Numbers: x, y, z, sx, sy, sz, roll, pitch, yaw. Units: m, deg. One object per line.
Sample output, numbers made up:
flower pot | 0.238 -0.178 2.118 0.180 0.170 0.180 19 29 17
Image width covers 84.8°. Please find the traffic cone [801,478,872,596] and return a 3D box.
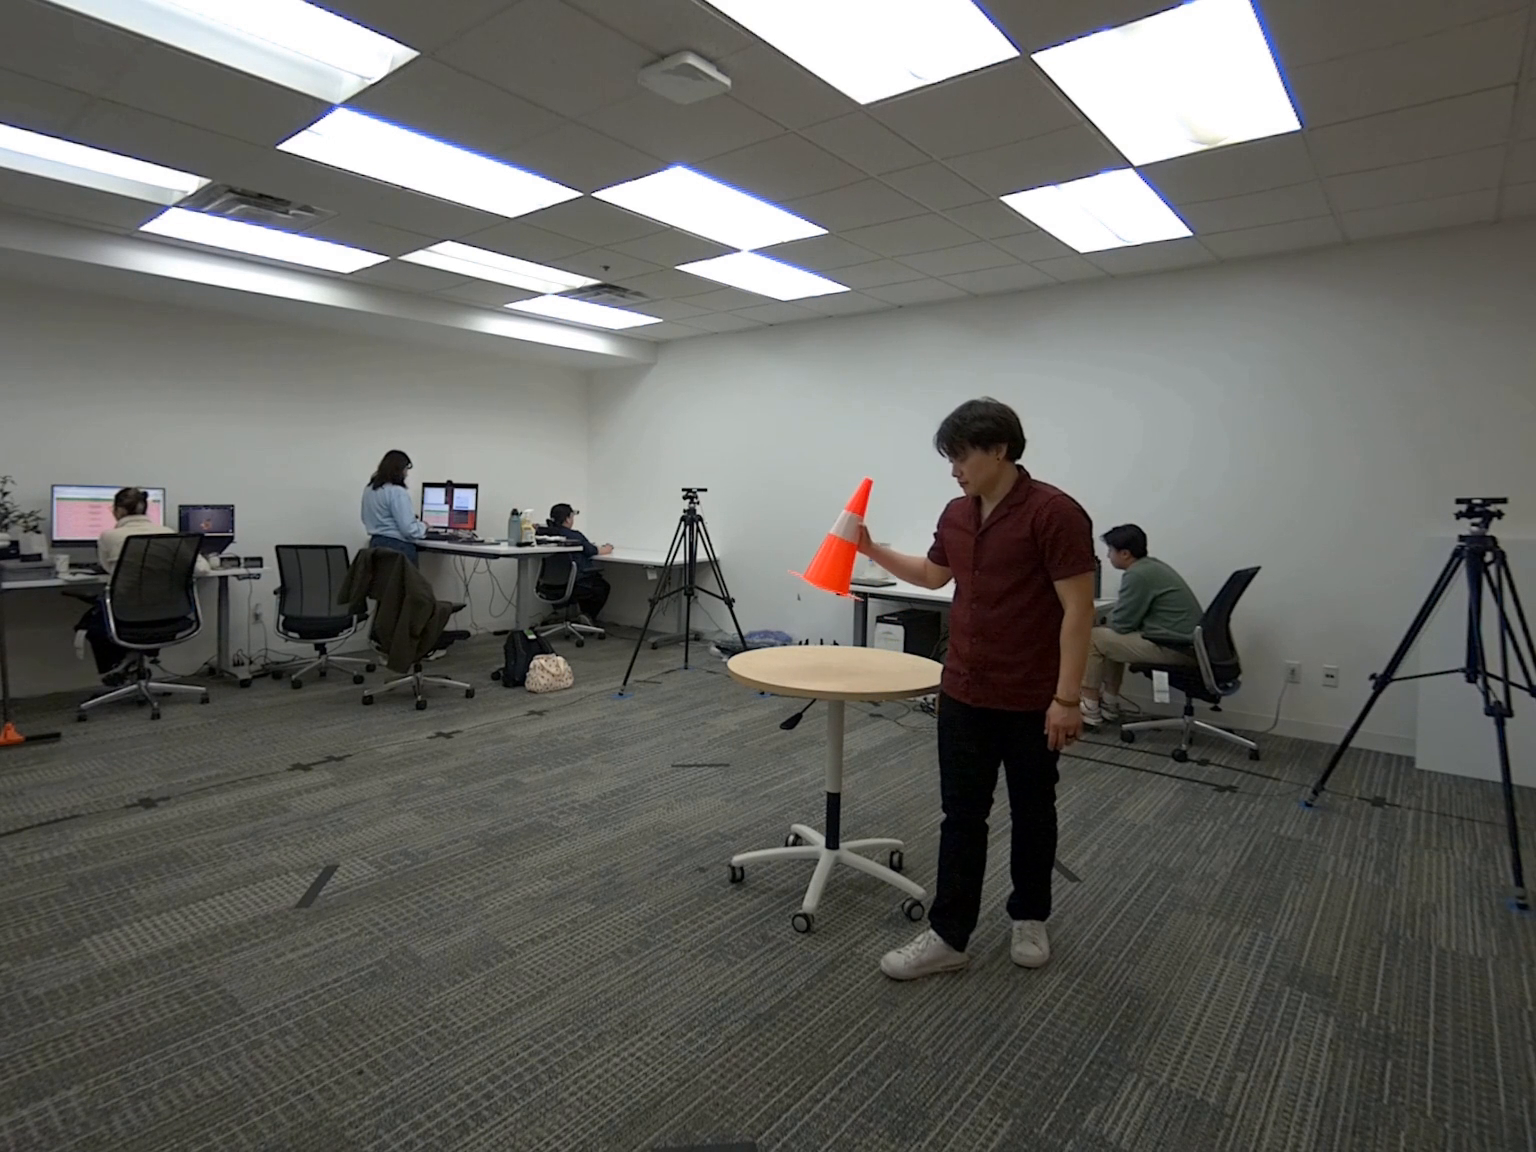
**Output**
traffic cone | 0.247 -0.141 2.786 0.199 0.383 0.210 19 4 -19
